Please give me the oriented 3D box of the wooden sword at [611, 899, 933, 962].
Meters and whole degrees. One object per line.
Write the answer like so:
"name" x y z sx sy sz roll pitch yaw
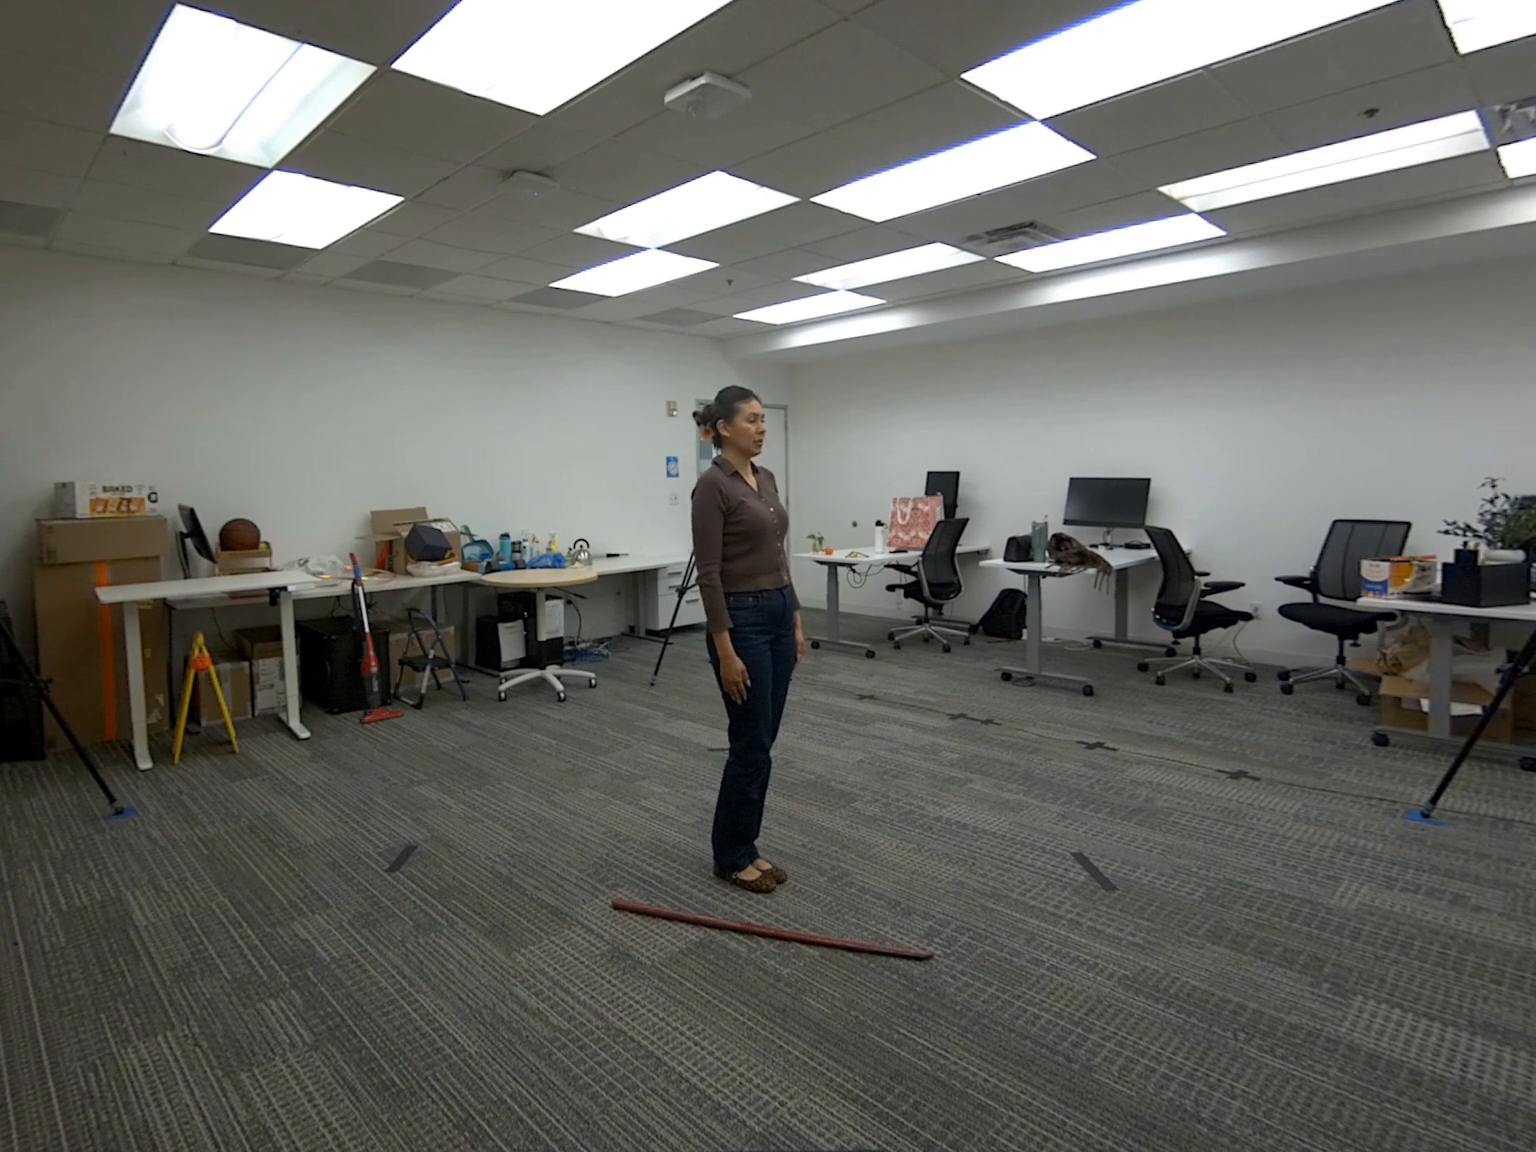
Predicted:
"wooden sword" -0.026 1.071 2.637 1.043 0.051 0.024 2 9 19
